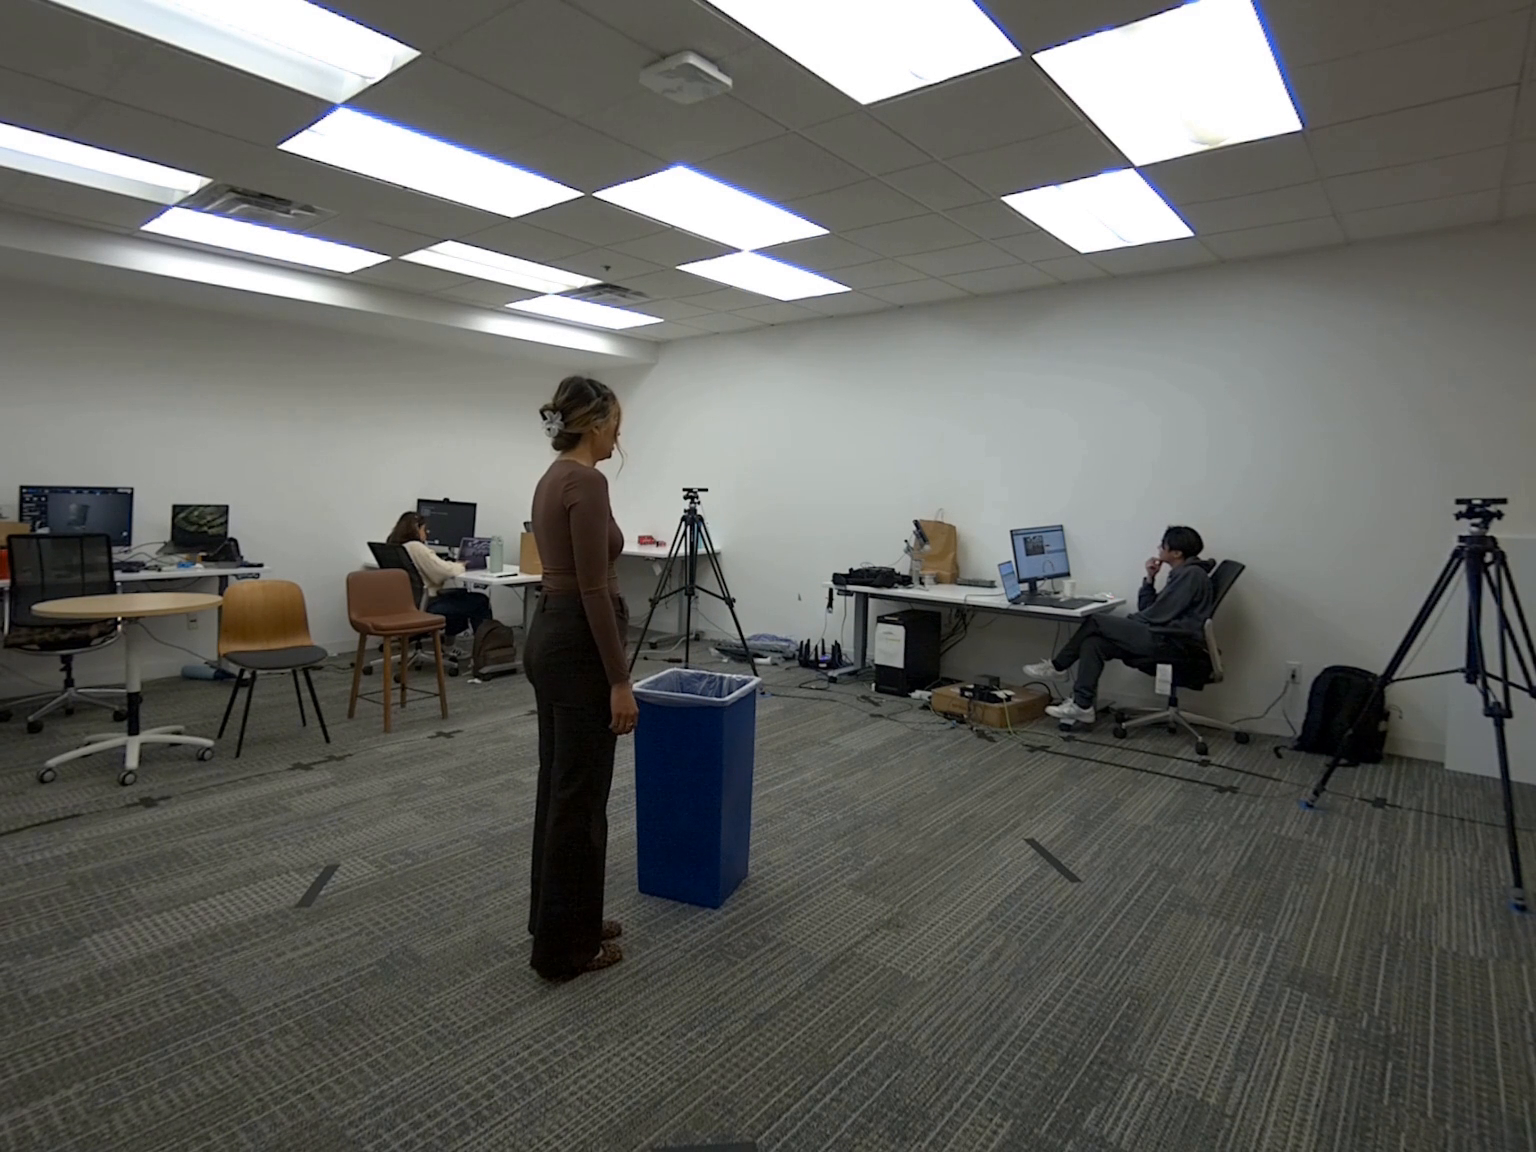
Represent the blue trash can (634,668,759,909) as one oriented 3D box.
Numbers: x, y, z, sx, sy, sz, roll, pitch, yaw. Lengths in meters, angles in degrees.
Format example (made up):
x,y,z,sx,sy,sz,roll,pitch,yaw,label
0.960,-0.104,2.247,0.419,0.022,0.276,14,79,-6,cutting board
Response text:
x,y,z,sx,sy,sz,roll,pitch,yaw,label
-0.261,0.723,2.977,0.387,0.712,0.366,2,3,21,blue trash can
